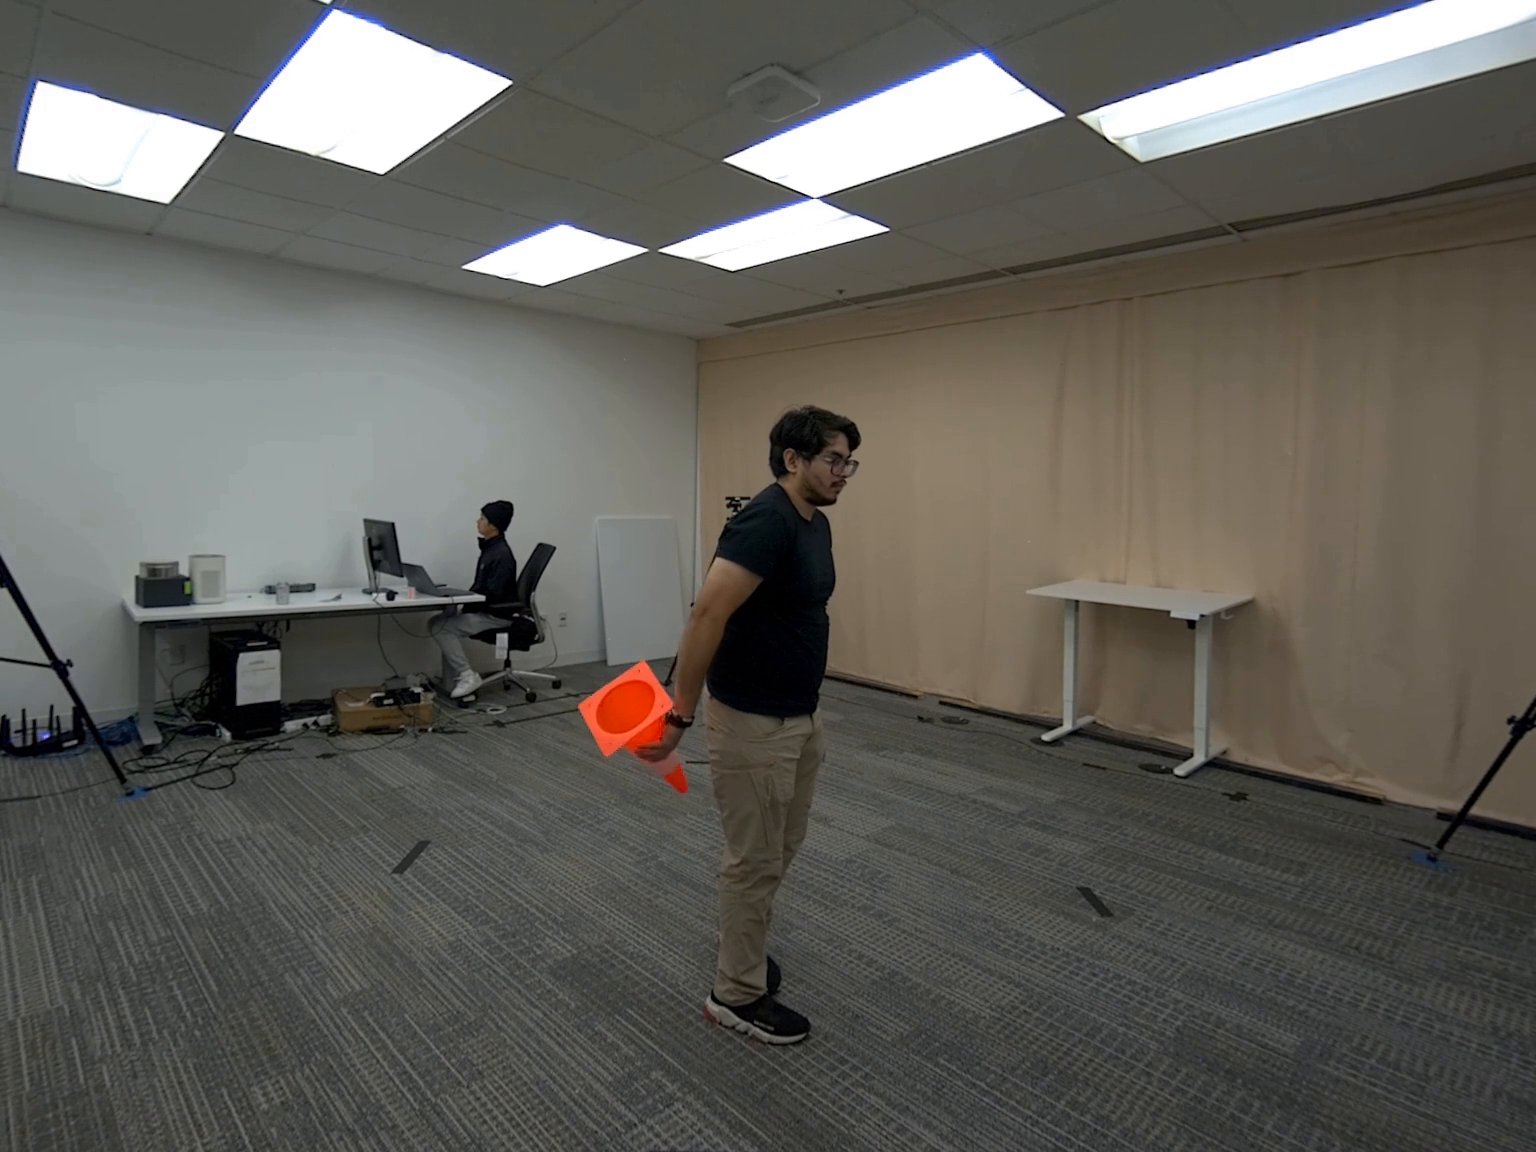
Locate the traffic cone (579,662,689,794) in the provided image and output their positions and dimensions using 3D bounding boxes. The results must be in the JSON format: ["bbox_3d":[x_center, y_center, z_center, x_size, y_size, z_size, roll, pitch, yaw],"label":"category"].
[{"bbox_3d":[-0.278,0.449,2.147,0.204,0.372,0.210,-32,39,-8],"label":"traffic cone"}]
